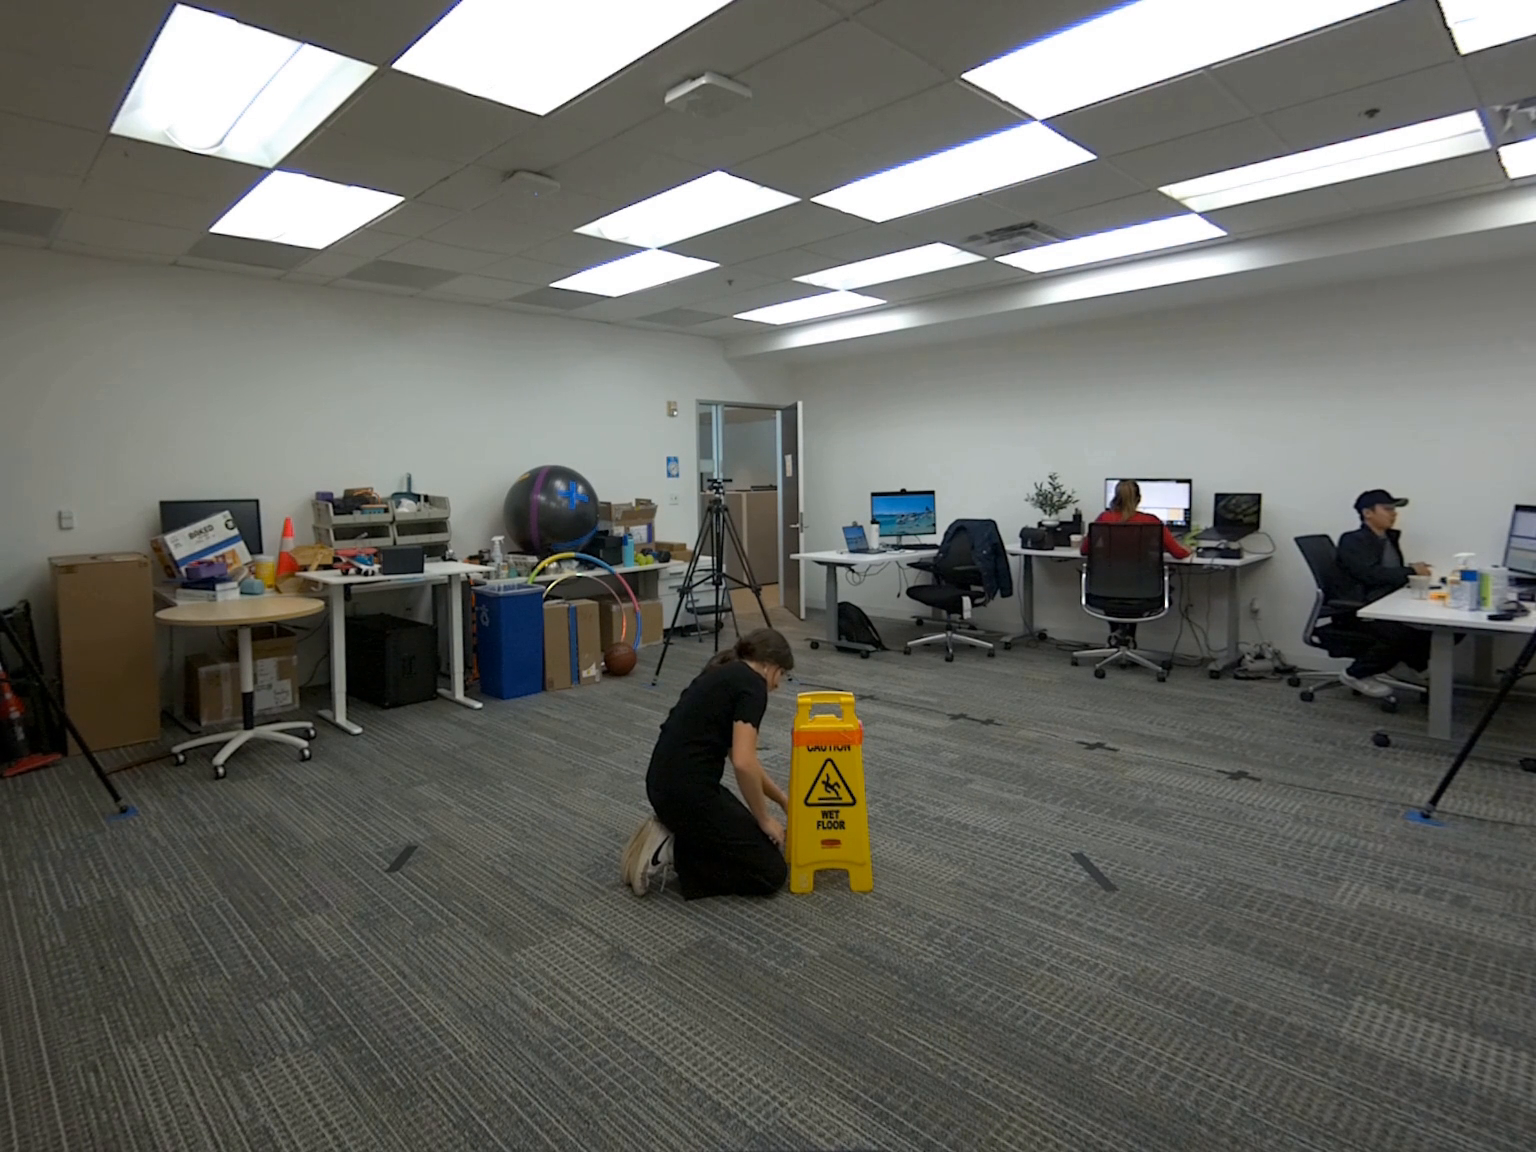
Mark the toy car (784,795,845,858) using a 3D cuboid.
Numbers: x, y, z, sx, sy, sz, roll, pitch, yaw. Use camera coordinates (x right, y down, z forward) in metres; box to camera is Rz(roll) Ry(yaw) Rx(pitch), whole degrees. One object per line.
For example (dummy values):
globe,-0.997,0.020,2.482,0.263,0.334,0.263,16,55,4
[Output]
toy car,0.165,0.931,3.181,0.128,0.251,0.086,9,36,-18
